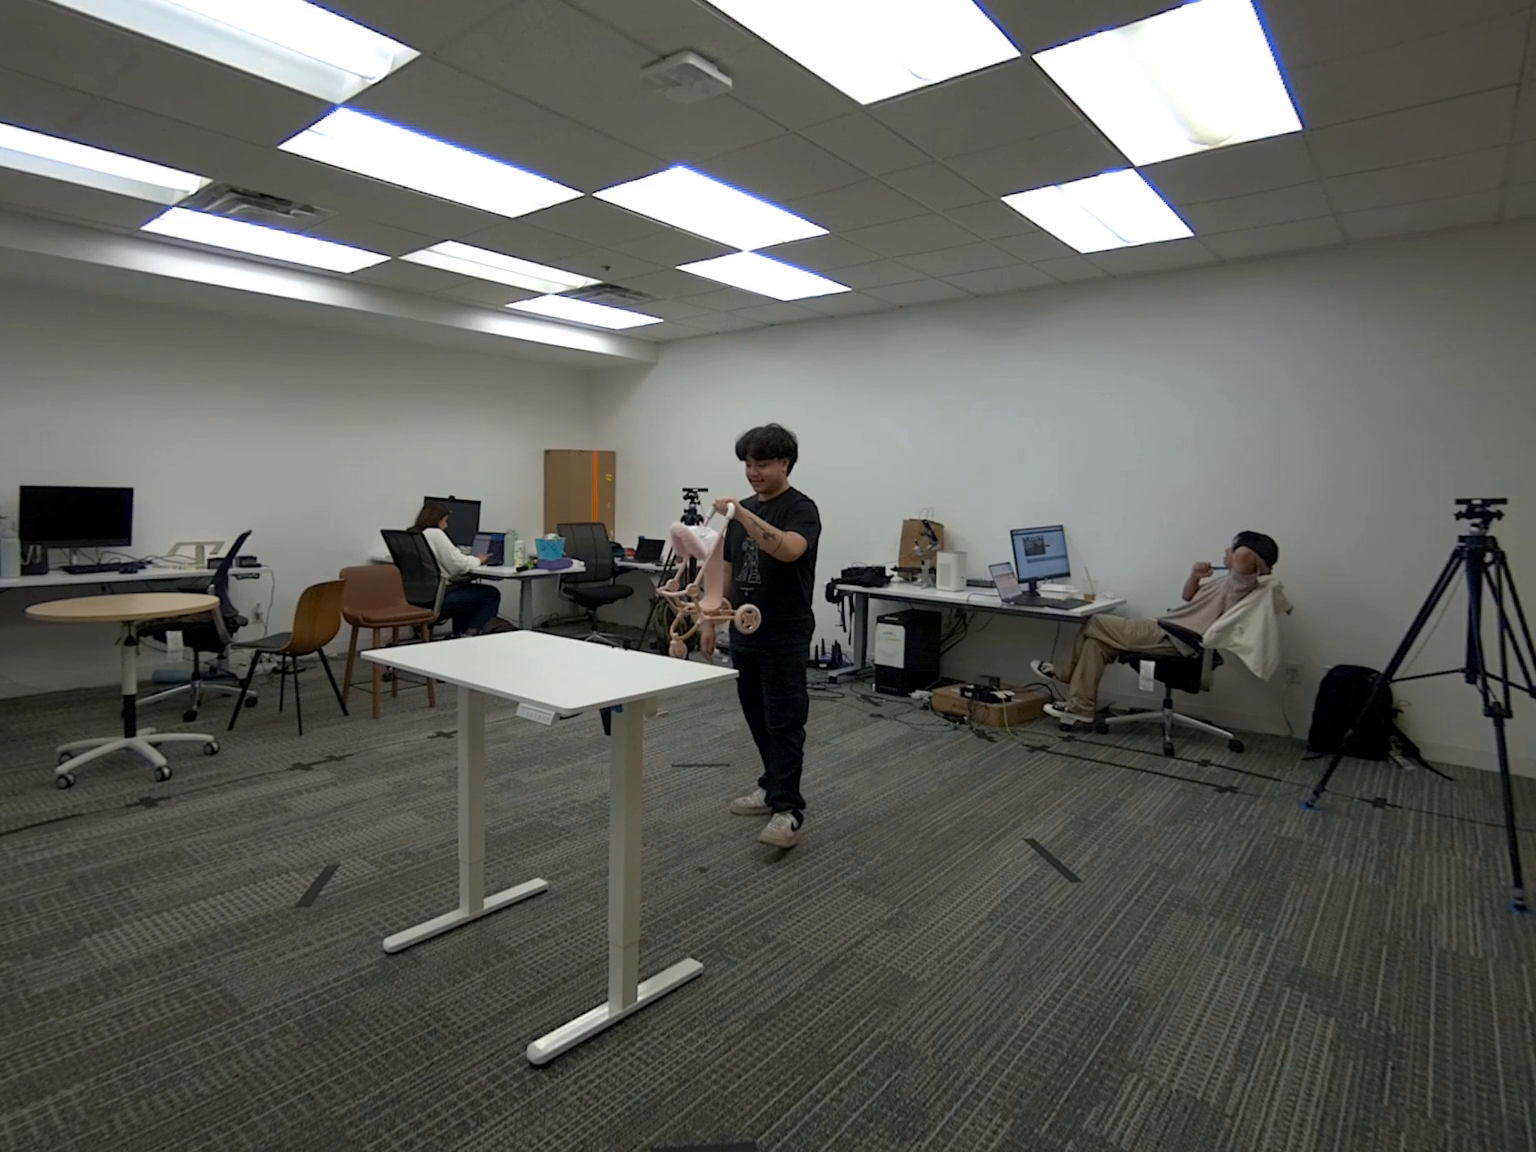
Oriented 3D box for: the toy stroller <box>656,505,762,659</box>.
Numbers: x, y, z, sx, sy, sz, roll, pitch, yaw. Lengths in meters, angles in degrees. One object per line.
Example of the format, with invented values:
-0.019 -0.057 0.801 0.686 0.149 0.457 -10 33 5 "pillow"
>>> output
-0.280 0.017 3.182 0.336 0.530 0.288 -12 9 -20 "toy stroller"
